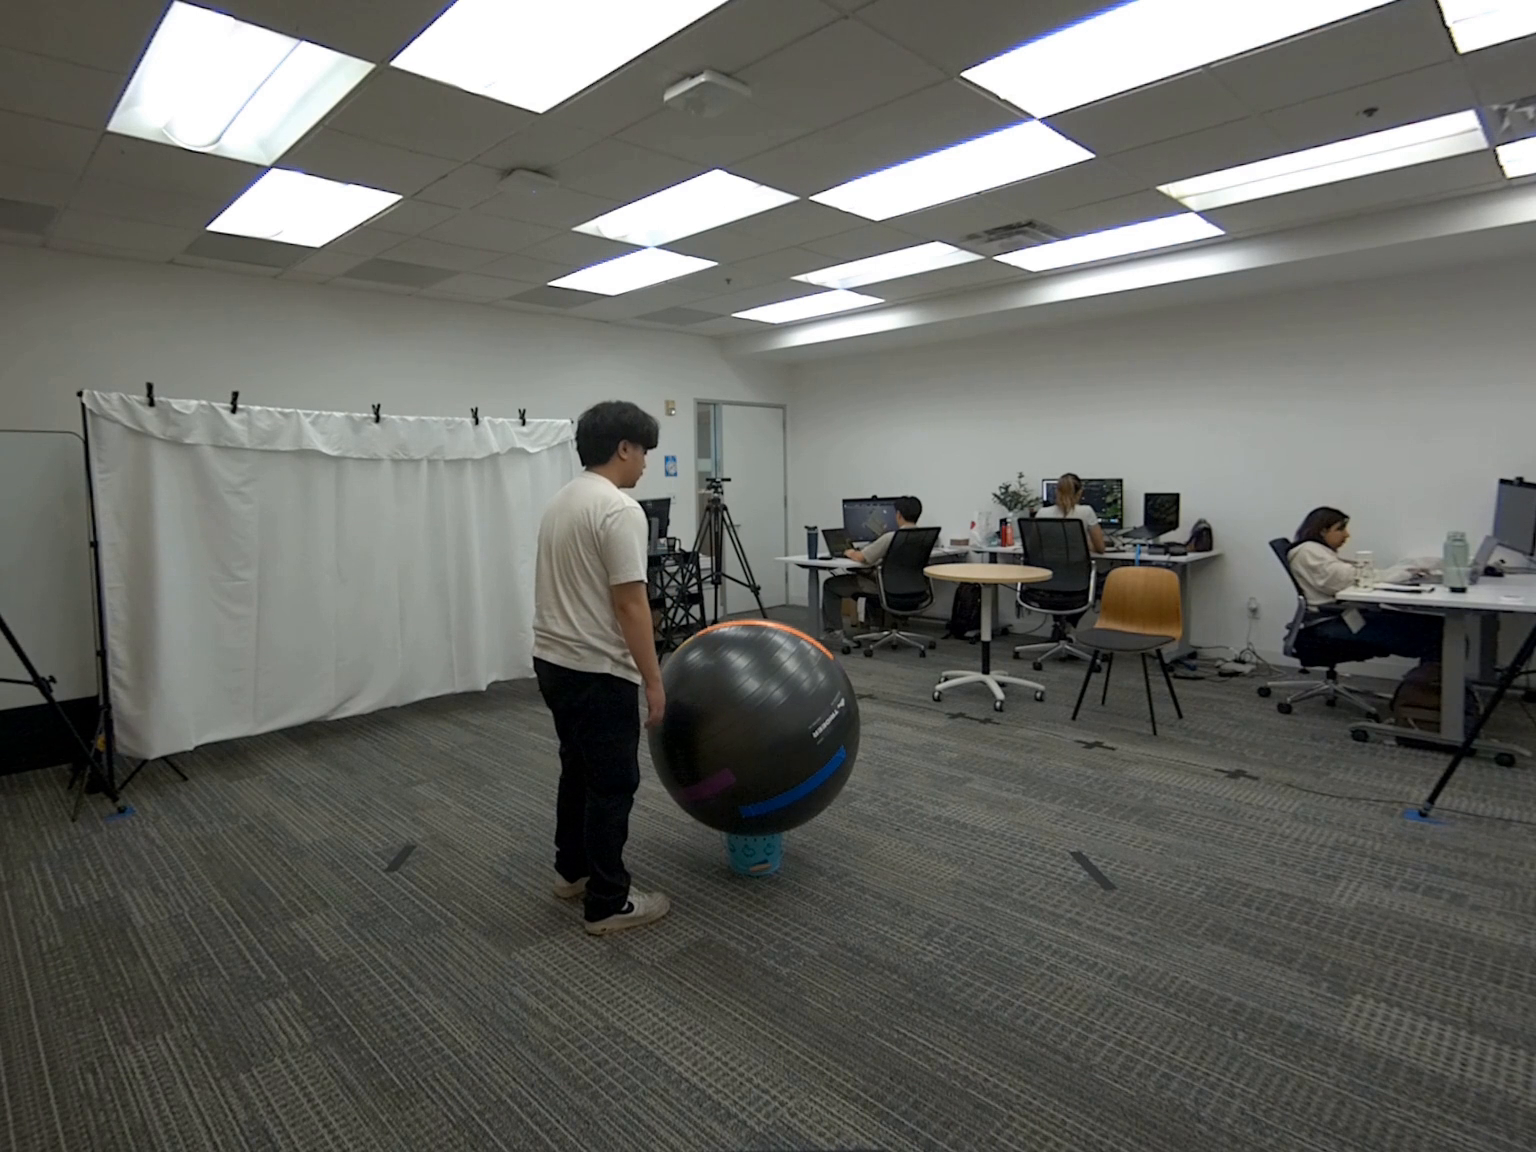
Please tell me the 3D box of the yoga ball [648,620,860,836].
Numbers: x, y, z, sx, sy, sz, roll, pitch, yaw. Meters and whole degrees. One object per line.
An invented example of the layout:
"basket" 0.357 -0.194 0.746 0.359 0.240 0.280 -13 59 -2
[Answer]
"yoga ball" -0.053 0.537 3.060 0.757 0.755 0.762 -1 5 -2
